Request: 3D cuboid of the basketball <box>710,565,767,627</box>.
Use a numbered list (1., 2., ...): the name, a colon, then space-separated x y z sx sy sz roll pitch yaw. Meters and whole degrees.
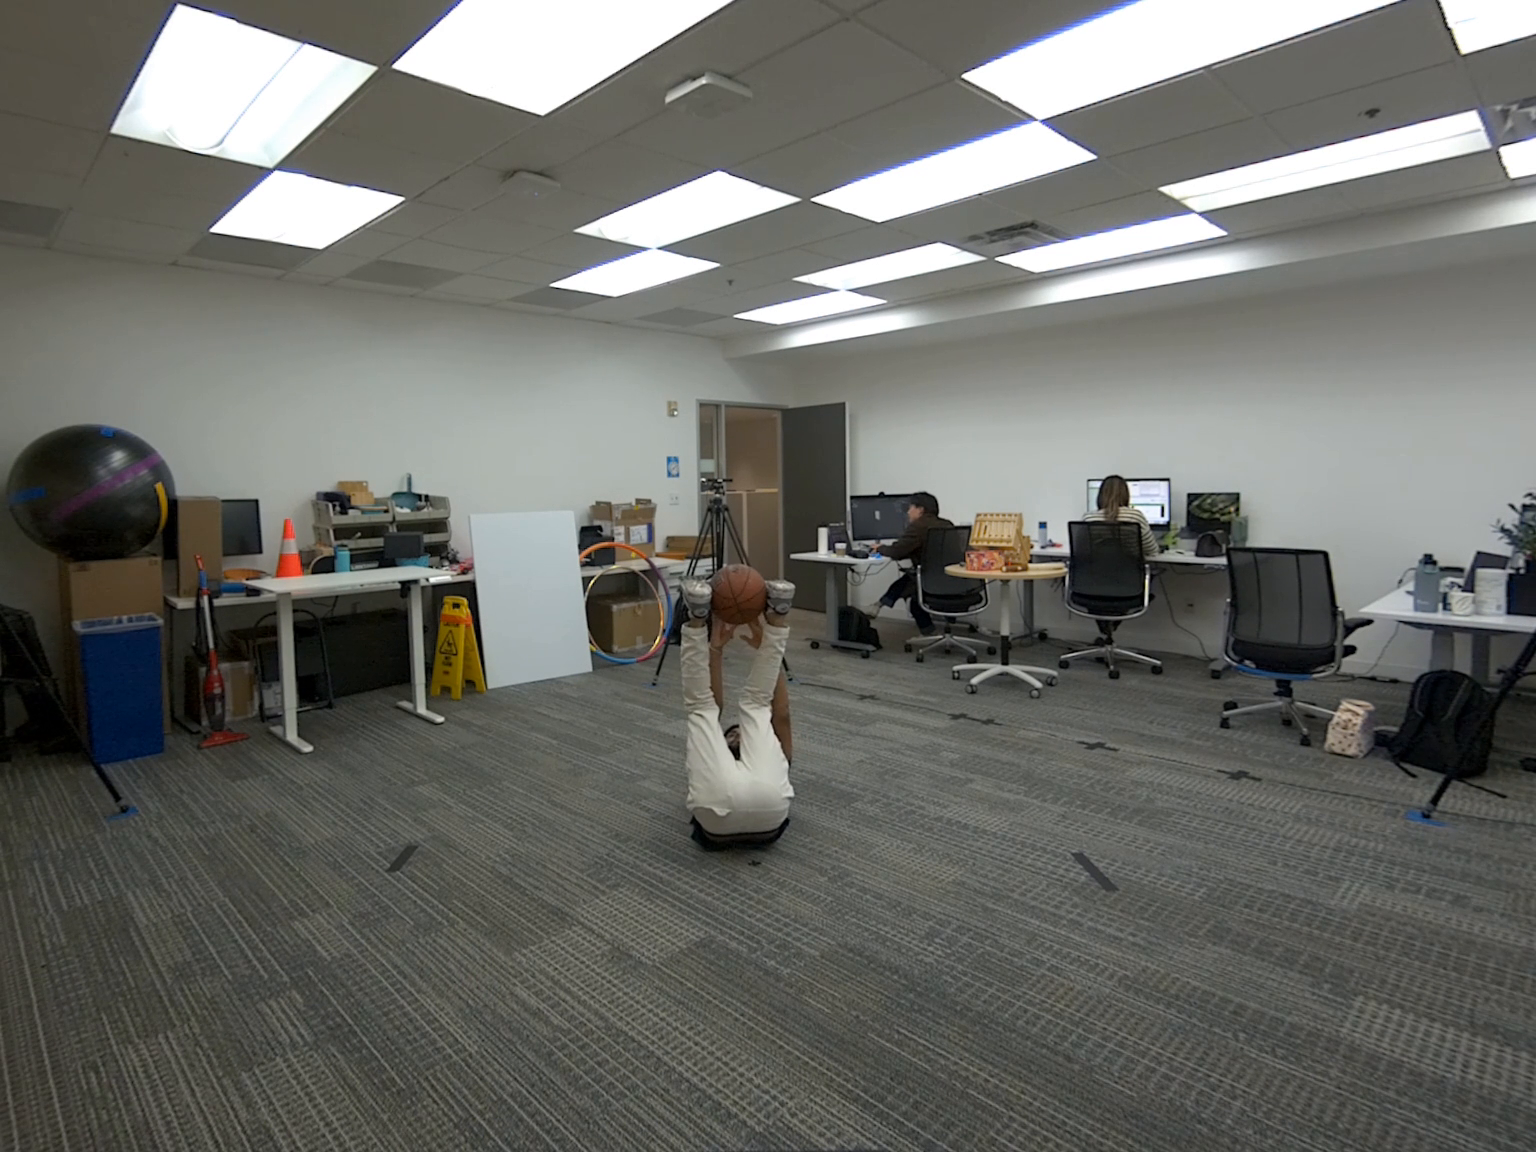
1. basketball: -0.122 0.073 3.356 0.236 0.235 0.237 -1 5 -2
